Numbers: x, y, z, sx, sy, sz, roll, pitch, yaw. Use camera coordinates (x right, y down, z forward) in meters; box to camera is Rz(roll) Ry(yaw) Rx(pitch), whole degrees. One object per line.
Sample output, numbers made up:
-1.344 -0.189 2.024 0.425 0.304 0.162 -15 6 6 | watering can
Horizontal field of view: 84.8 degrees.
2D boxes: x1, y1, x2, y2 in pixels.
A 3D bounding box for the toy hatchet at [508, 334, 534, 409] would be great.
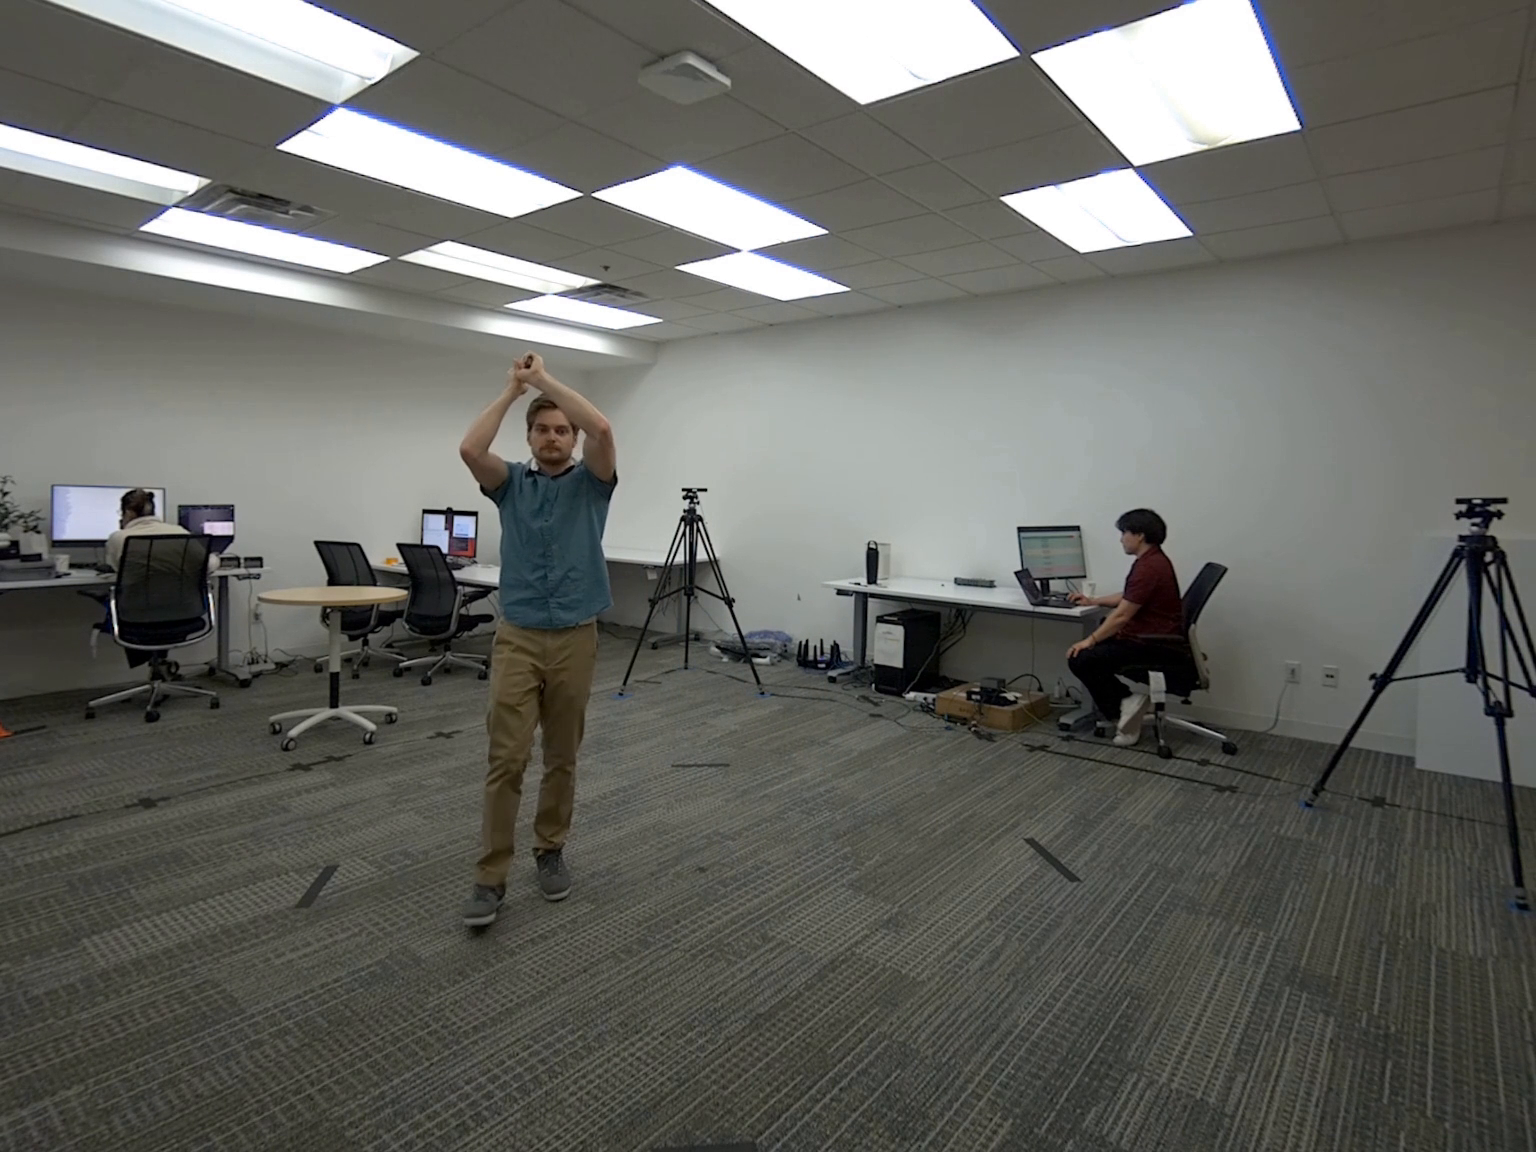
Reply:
-0.856 -0.699 2.886 0.029 0.133 0.272 11 -22 -24 | toy hatchet
